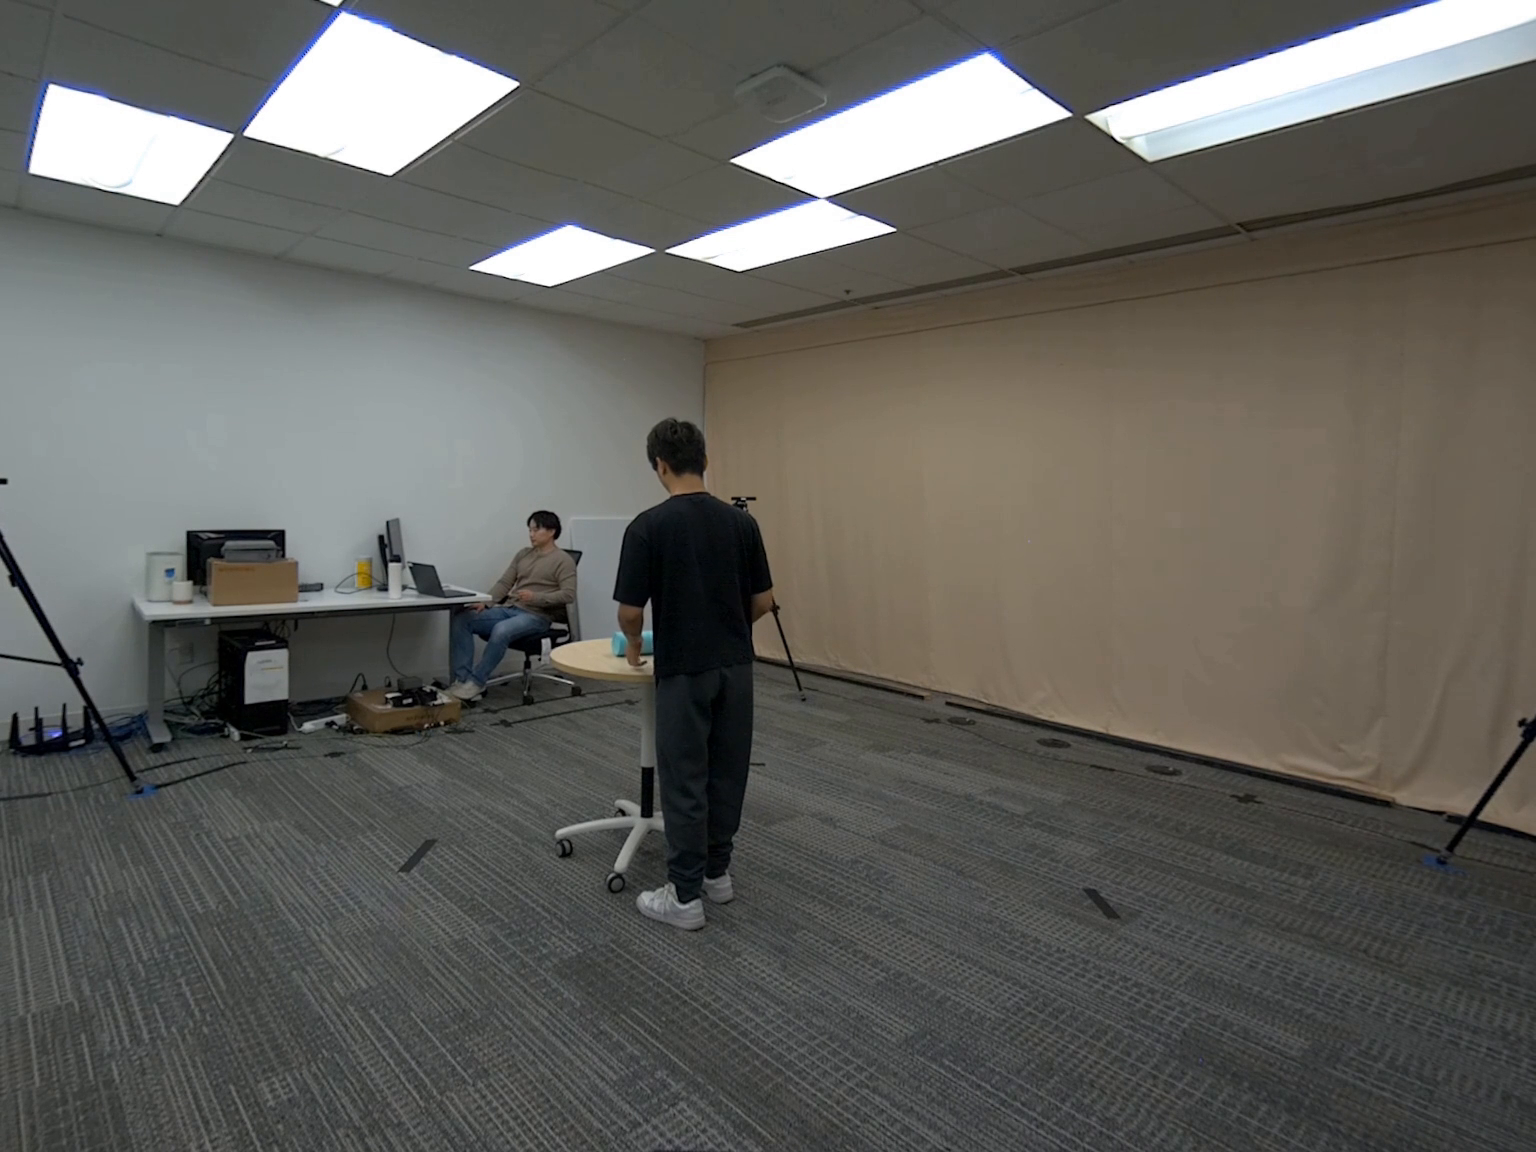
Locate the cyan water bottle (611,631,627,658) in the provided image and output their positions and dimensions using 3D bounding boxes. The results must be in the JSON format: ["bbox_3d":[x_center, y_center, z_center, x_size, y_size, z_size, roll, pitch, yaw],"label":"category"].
[{"bbox_3d":[-0.466,0.258,3.261,0.277,0.092,0.094,-1,5,-31],"label":"cyan water bottle"}]
